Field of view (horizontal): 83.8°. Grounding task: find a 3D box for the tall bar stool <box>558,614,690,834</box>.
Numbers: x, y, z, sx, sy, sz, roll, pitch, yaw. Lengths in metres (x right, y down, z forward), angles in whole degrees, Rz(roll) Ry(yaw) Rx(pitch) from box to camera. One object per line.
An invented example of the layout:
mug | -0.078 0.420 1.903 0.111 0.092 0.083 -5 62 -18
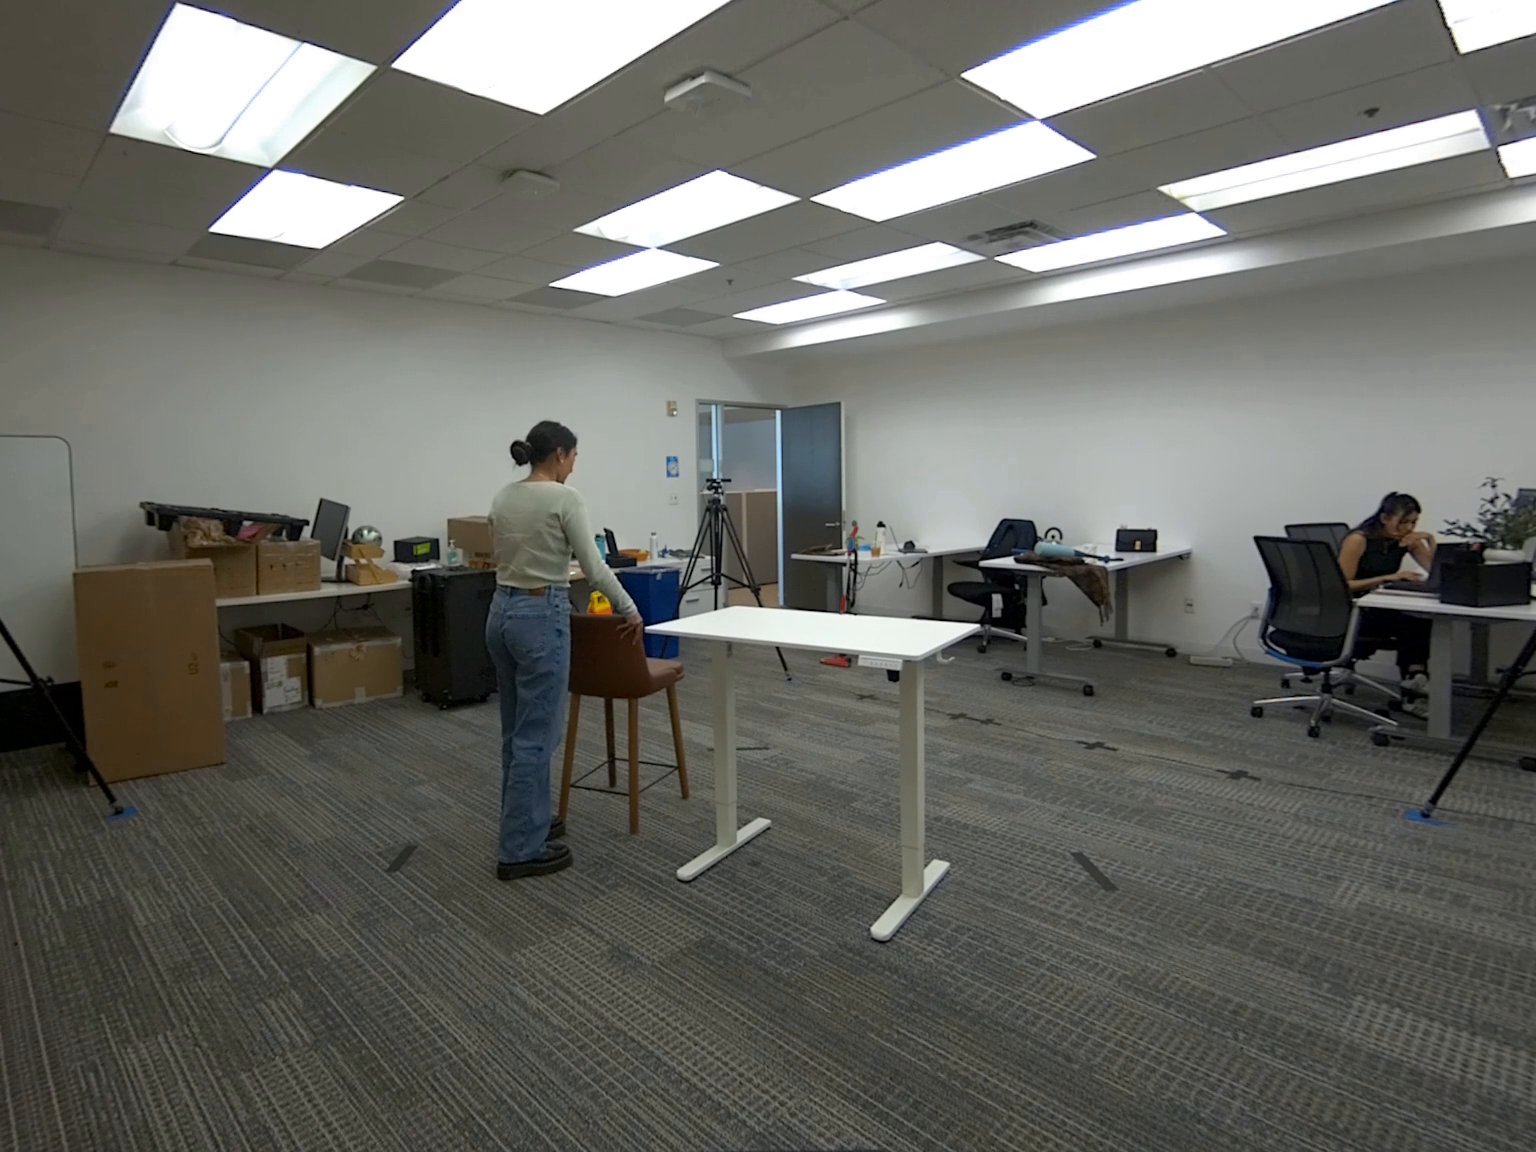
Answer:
tall bar stool | -0.628 0.560 3.620 0.467 0.885 0.460 1 7 24
